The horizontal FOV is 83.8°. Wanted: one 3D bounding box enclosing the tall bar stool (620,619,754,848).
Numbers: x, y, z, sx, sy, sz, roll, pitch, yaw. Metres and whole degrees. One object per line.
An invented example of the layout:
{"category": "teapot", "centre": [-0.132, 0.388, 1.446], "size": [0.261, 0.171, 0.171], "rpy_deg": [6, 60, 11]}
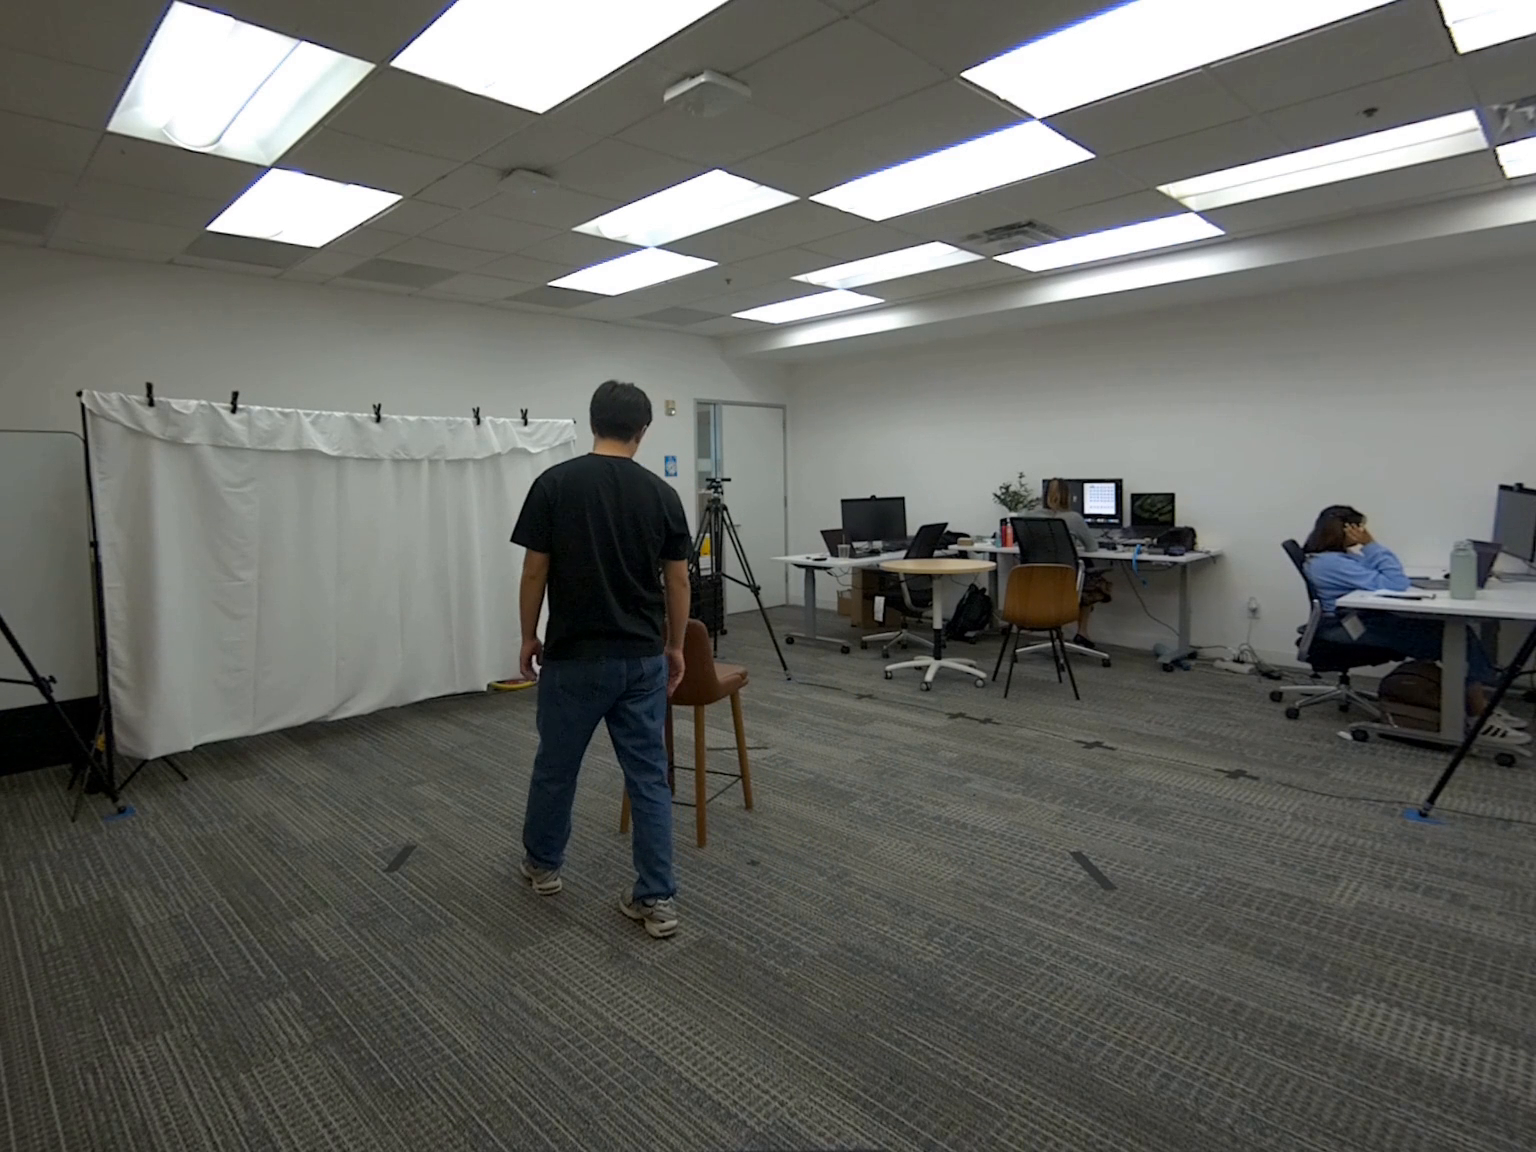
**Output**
{"category": "tall bar stool", "centre": [-0.341, 0.567, 3.483], "size": [0.467, 0.885, 0.459], "rpy_deg": [1, 6, 25]}
